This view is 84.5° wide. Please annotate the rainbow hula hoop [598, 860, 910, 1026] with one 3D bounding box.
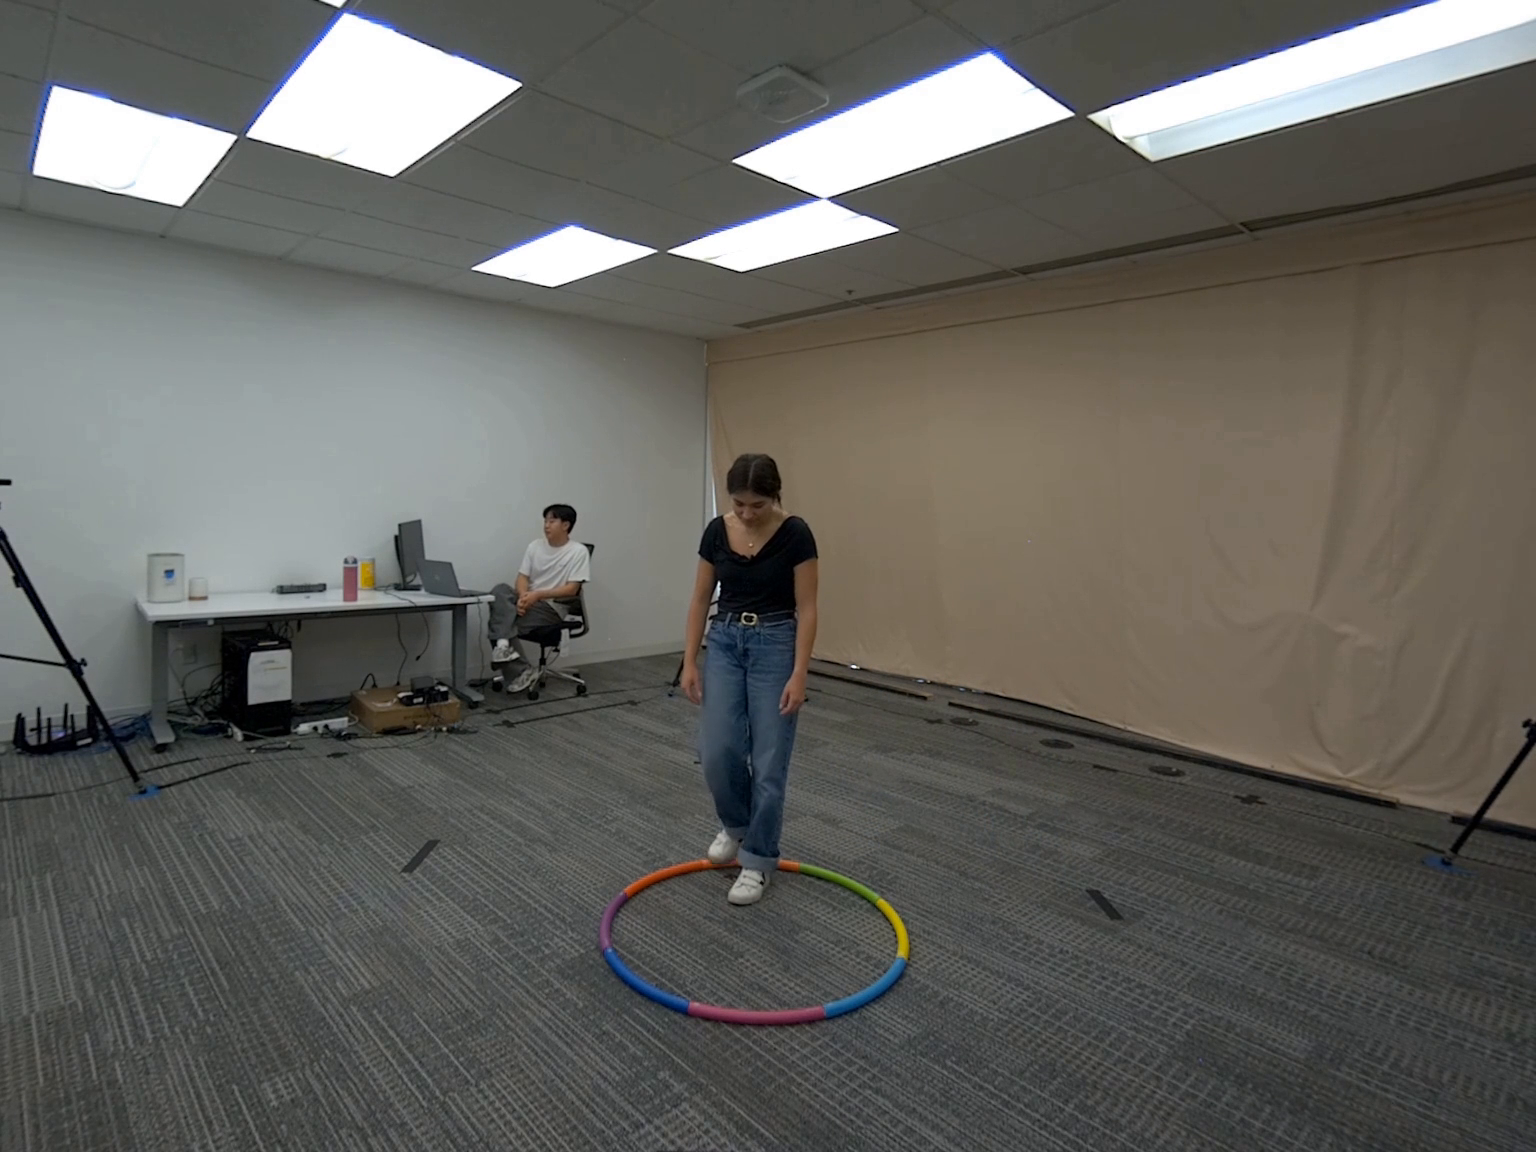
[{"bbox_3d":[-0.049,1.119,2.710,0.978,0.035,0.982,1,5,-1],"label":"rainbow hula hoop"}]
